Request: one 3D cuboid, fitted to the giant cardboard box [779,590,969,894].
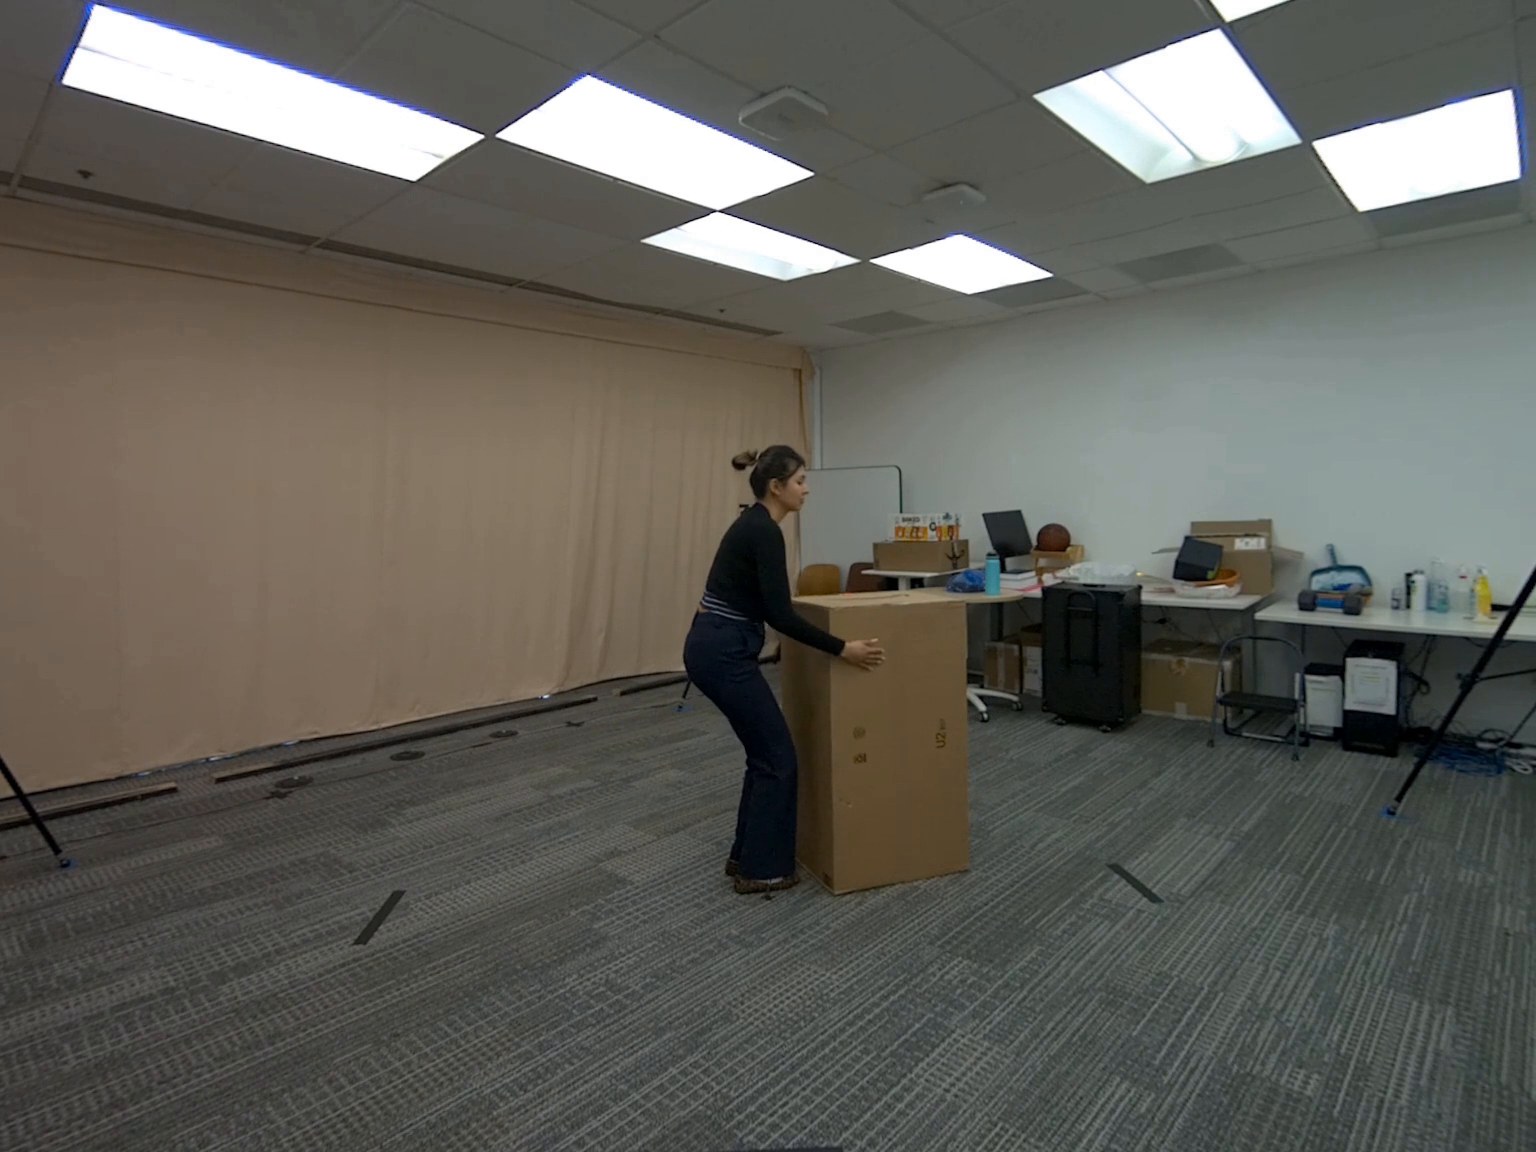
[{"bbox_3d":[0.408,0.598,3.251,0.566,1.024,0.436,-2,3,-21],"label":"giant cardboard box"}]
